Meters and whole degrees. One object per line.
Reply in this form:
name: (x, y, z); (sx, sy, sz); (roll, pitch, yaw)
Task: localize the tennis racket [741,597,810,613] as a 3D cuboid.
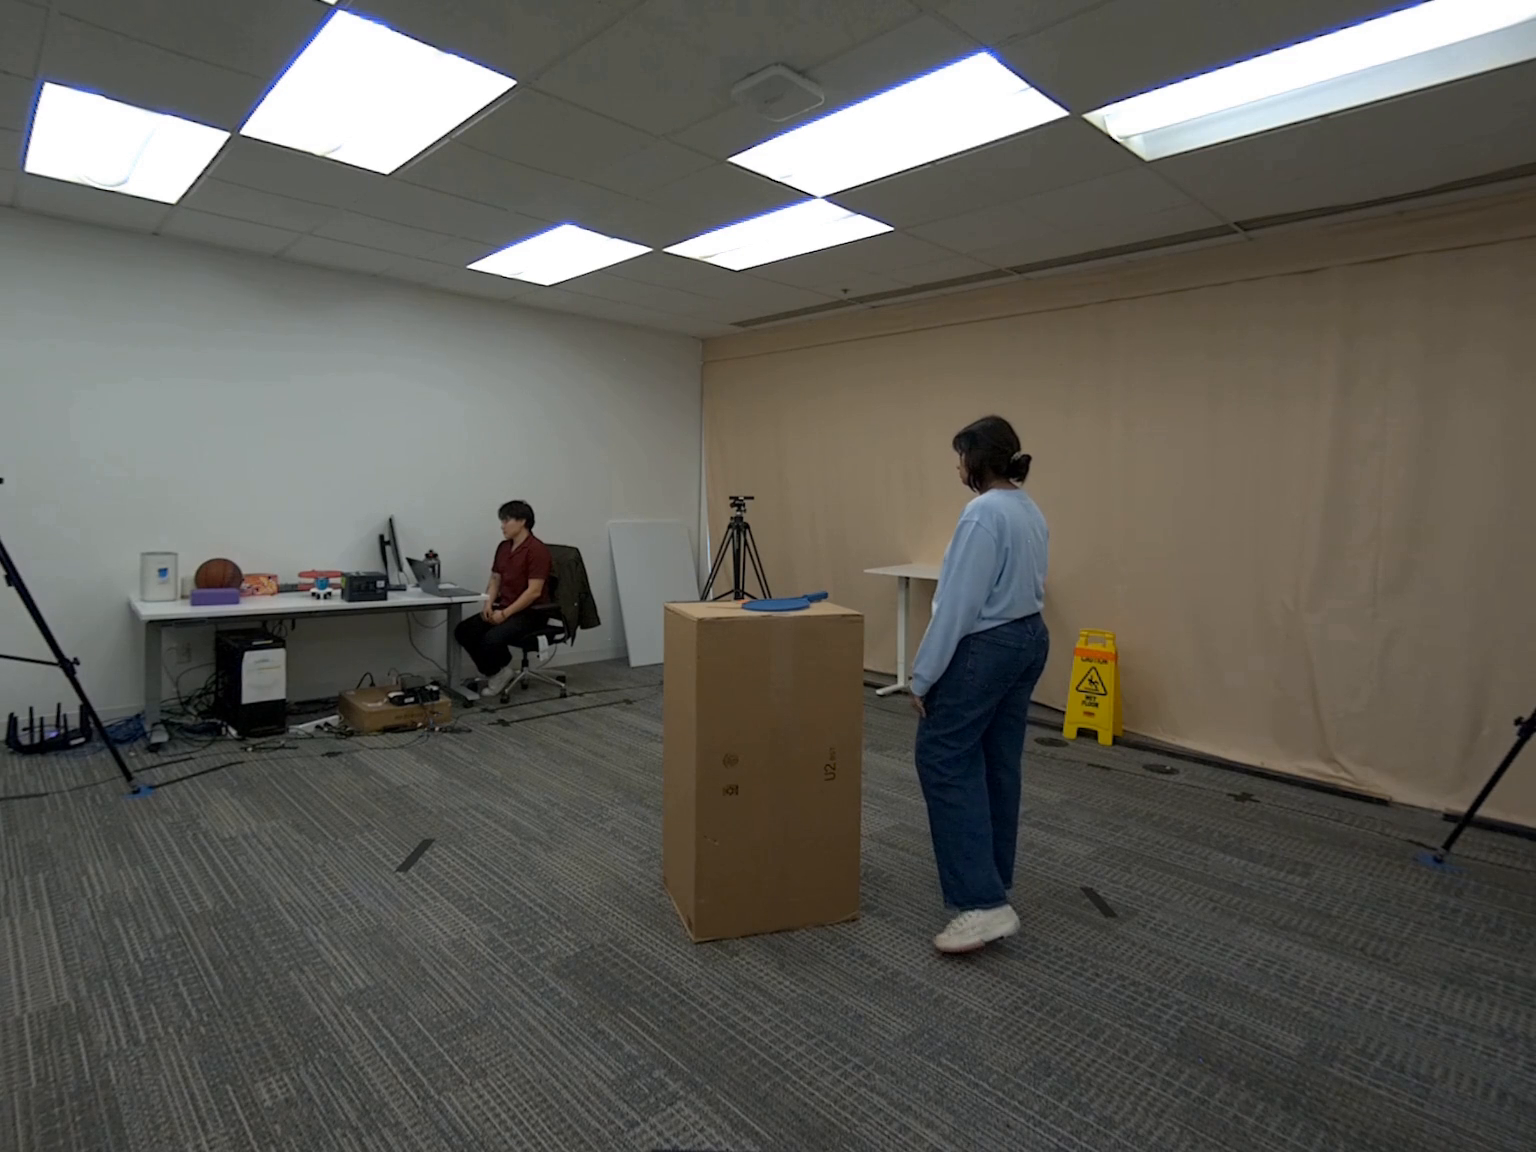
tennis racket: (0.080, 0.094, 2.910); (0.219, 0.031, 0.424); (4, 7, 36)
